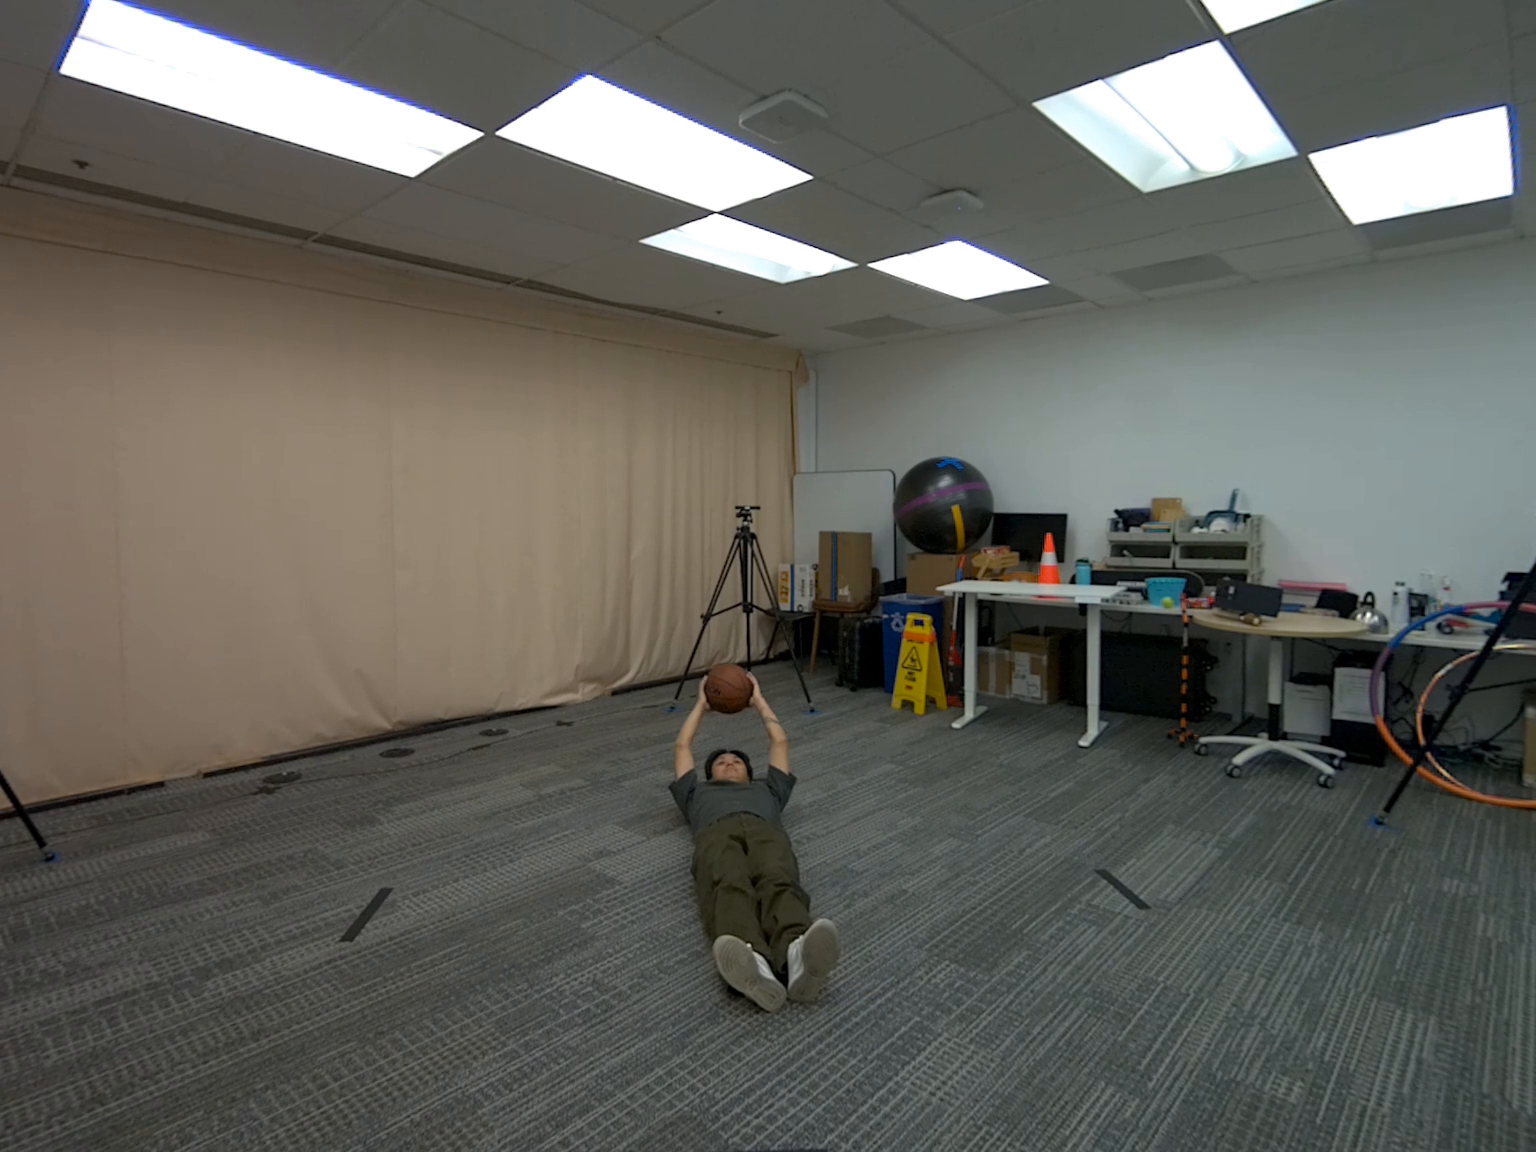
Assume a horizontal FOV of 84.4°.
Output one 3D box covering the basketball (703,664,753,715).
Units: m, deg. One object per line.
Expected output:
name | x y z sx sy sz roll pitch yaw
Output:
basketball | -0.187 0.543 4.026 0.236 0.235 0.237 0 4 -2
